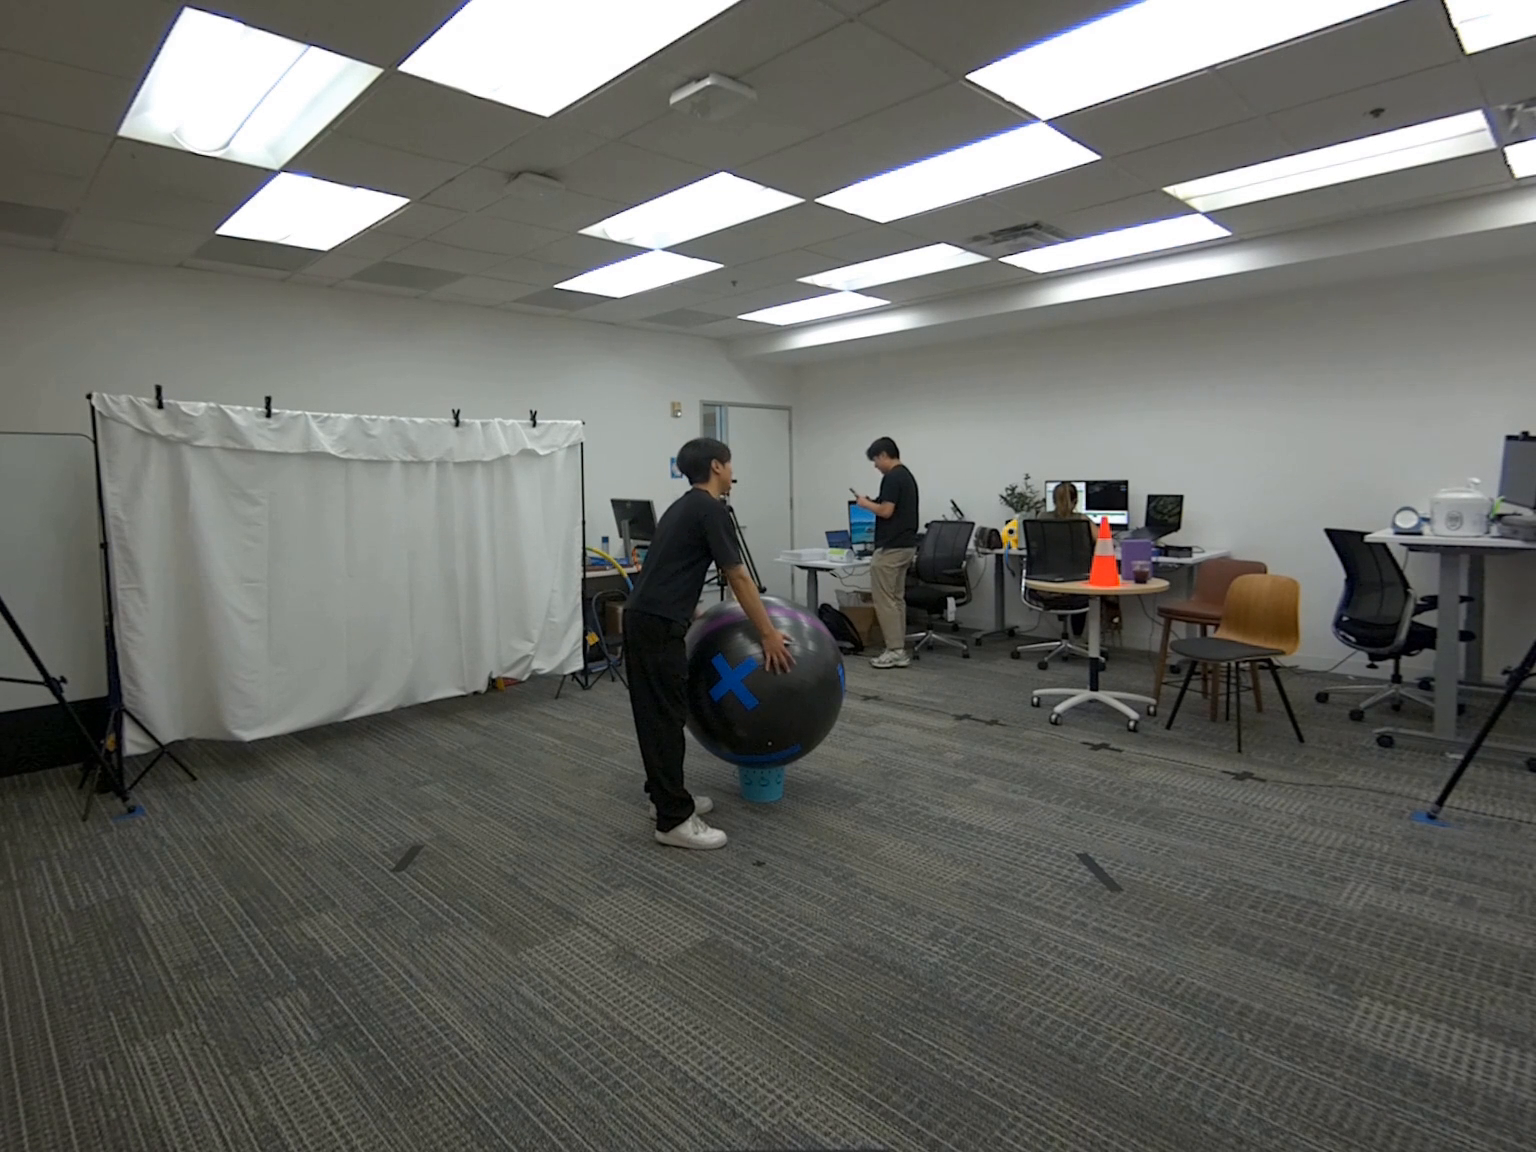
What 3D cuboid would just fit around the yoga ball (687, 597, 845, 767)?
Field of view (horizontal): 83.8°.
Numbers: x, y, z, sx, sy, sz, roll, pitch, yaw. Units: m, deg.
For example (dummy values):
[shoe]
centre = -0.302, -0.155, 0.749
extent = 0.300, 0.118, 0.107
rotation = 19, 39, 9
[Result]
[yoga ball]
centre = -0.039, 0.466, 3.783
extent = 0.757, 0.755, 0.762
rotation = -1, 5, -2
